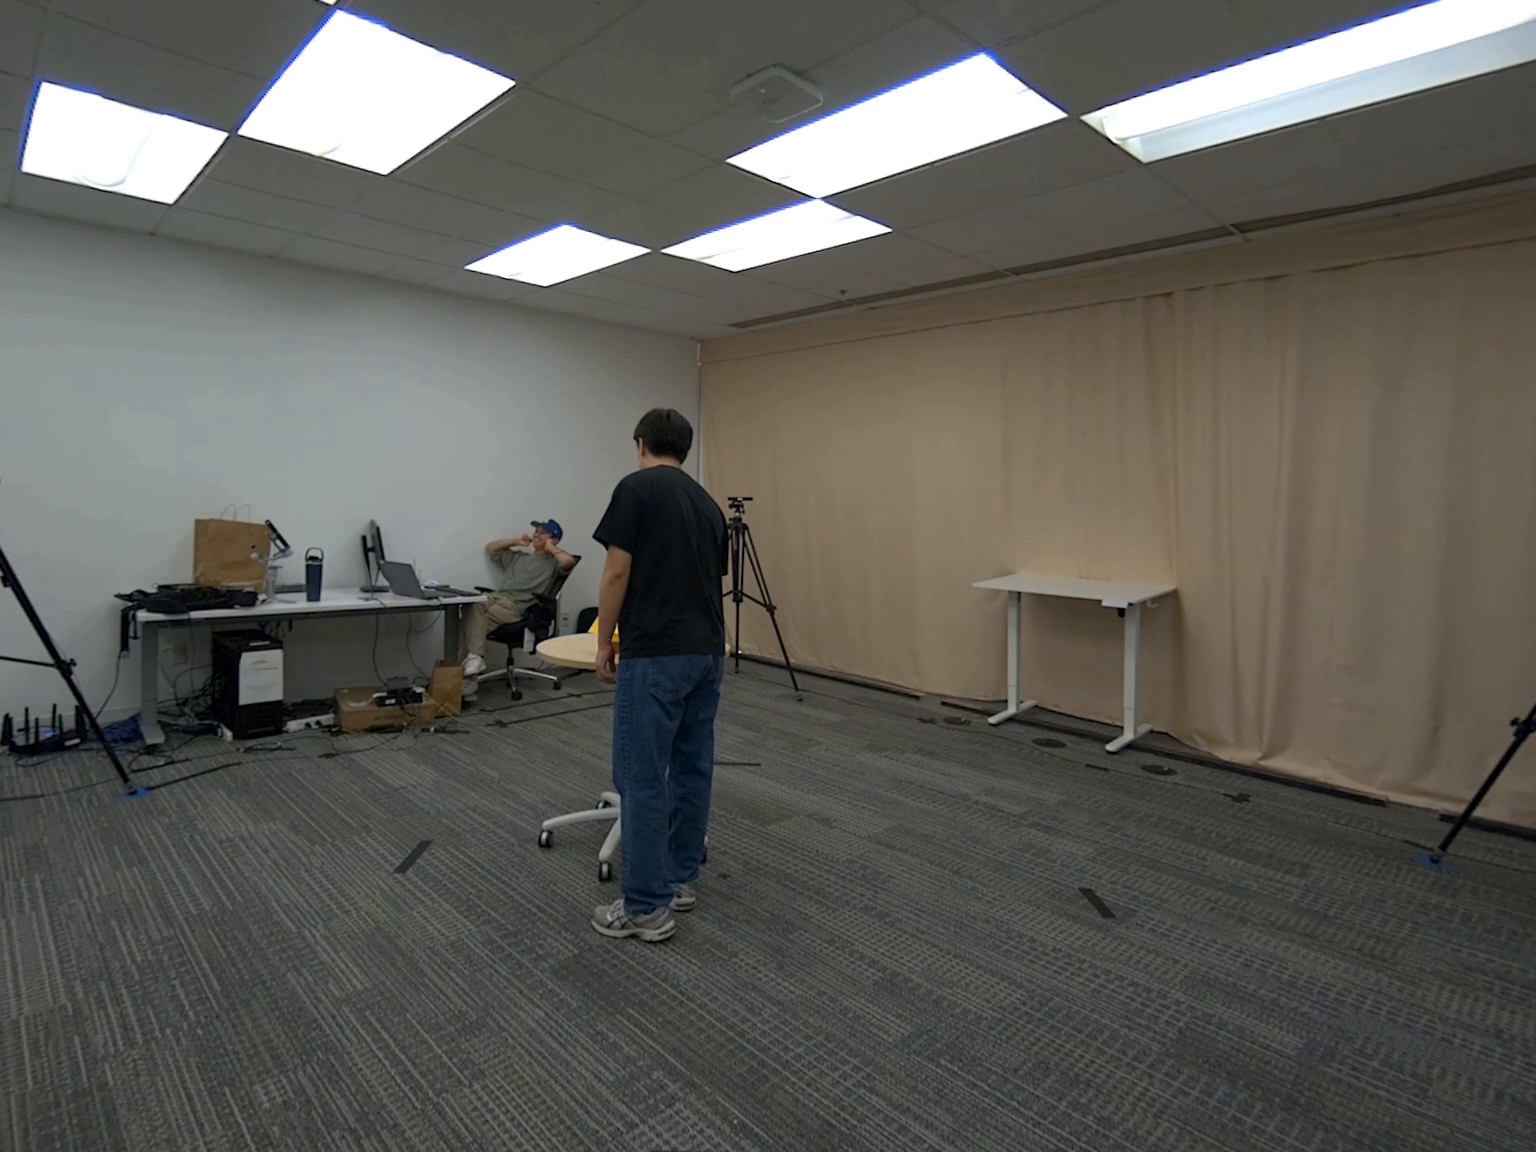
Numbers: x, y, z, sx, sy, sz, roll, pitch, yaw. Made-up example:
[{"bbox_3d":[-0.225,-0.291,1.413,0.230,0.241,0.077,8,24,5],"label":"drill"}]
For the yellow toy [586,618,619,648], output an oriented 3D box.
[{"bbox_3d":[-0.562,0.176,3.239,0.207,0.230,0.191,2,3,15],"label":"yellow toy"}]
